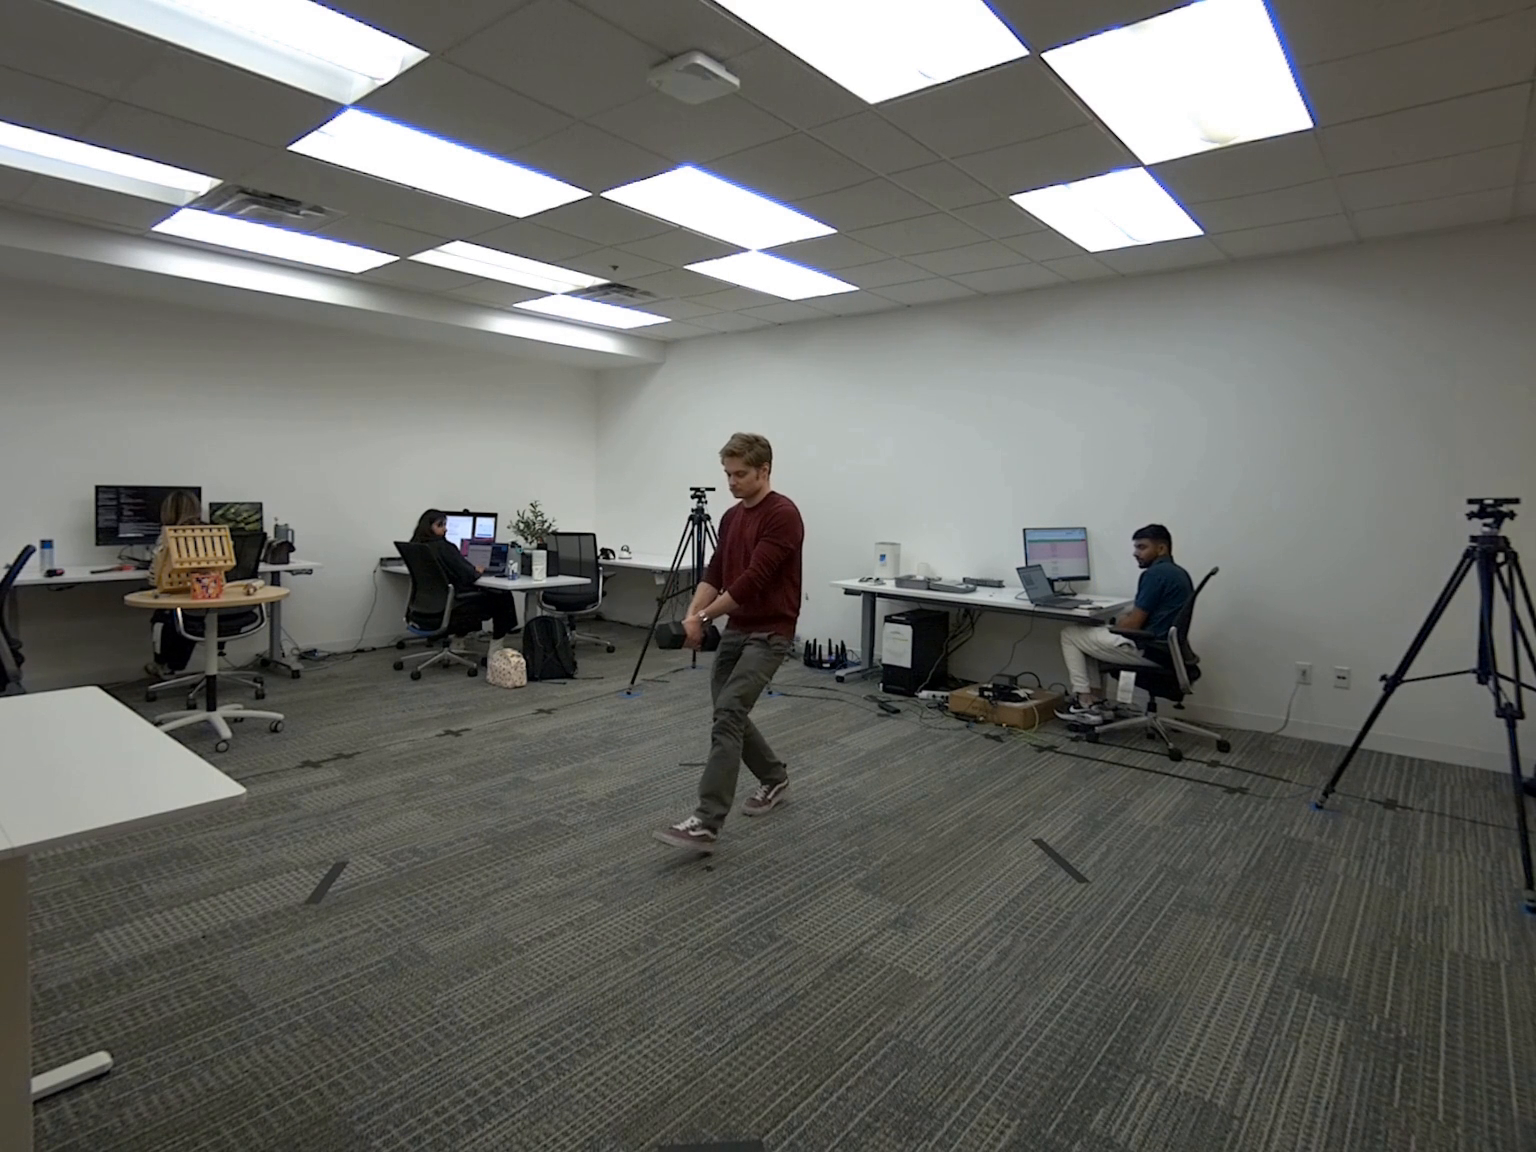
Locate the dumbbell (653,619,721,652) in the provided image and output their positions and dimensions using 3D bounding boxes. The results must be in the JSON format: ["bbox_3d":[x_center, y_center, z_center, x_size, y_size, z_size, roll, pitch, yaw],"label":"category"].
[{"bbox_3d":[-0.335,0.239,3.372,0.109,0.127,0.283,-44,-32,26],"label":"dumbbell"}]
